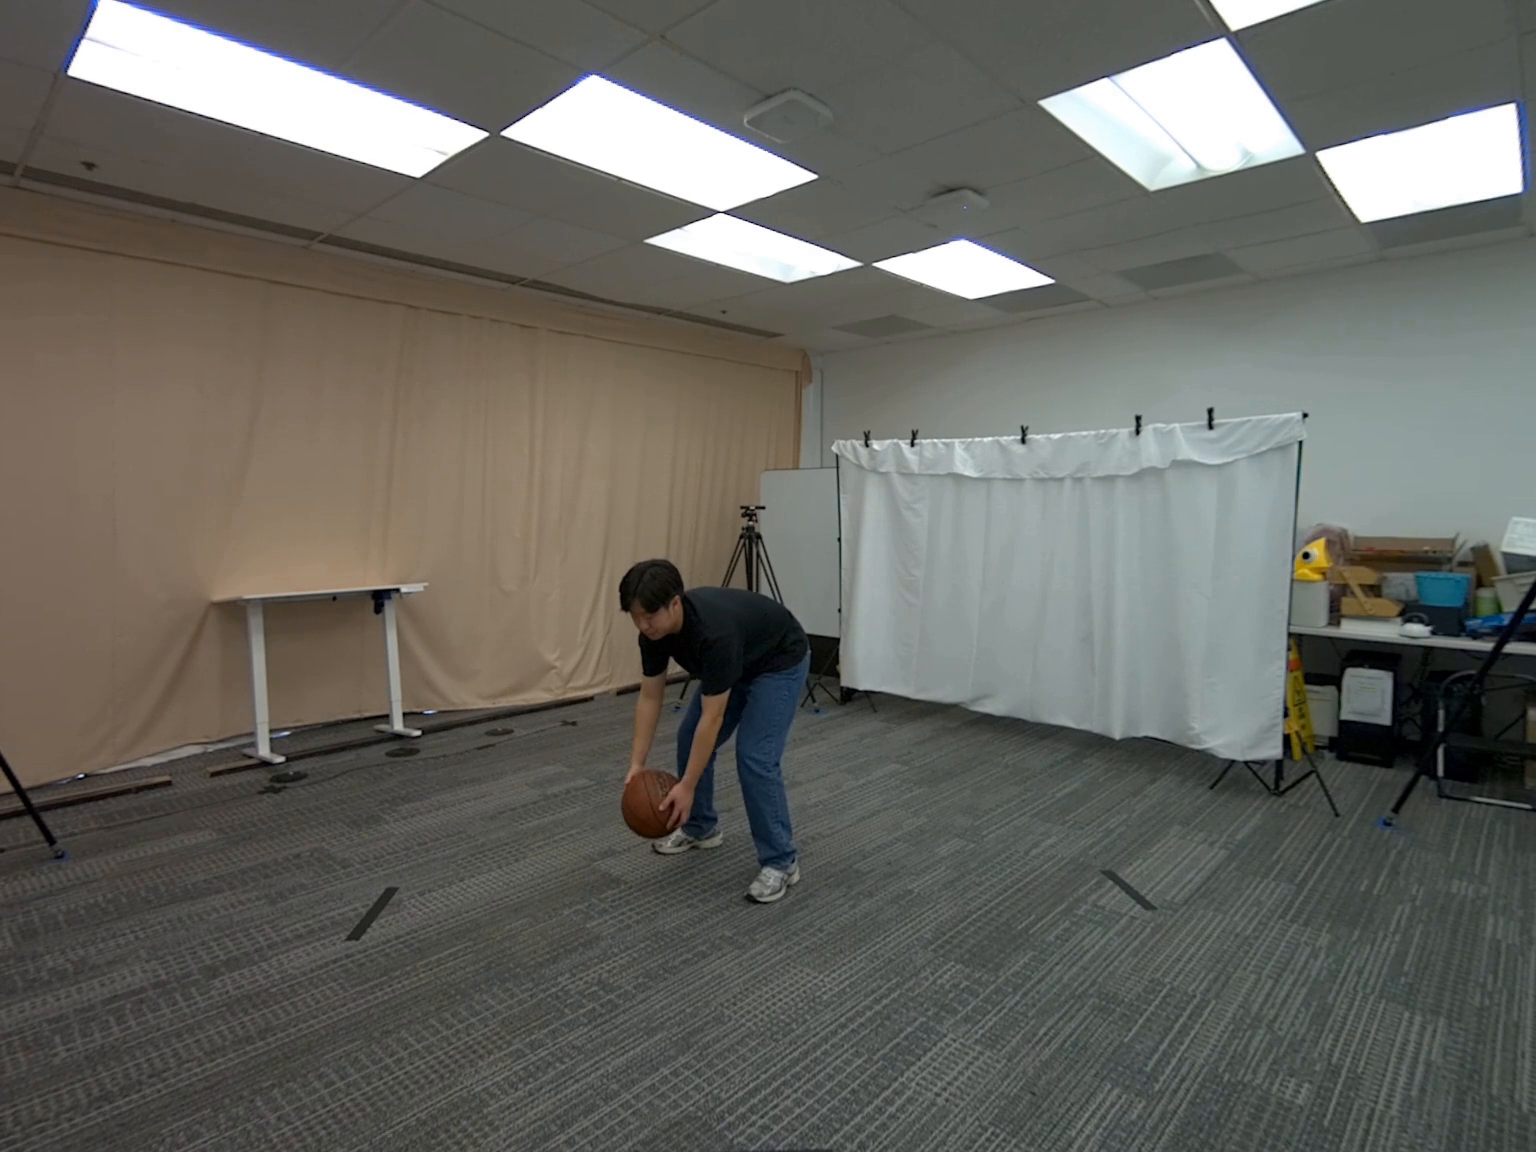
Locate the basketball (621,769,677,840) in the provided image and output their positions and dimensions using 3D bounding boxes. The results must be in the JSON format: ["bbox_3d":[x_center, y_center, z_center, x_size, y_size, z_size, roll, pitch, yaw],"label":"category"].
[{"bbox_3d":[-0.406,0.814,3.037,0.236,0.235,0.237,0,4,-2],"label":"basketball"}]
